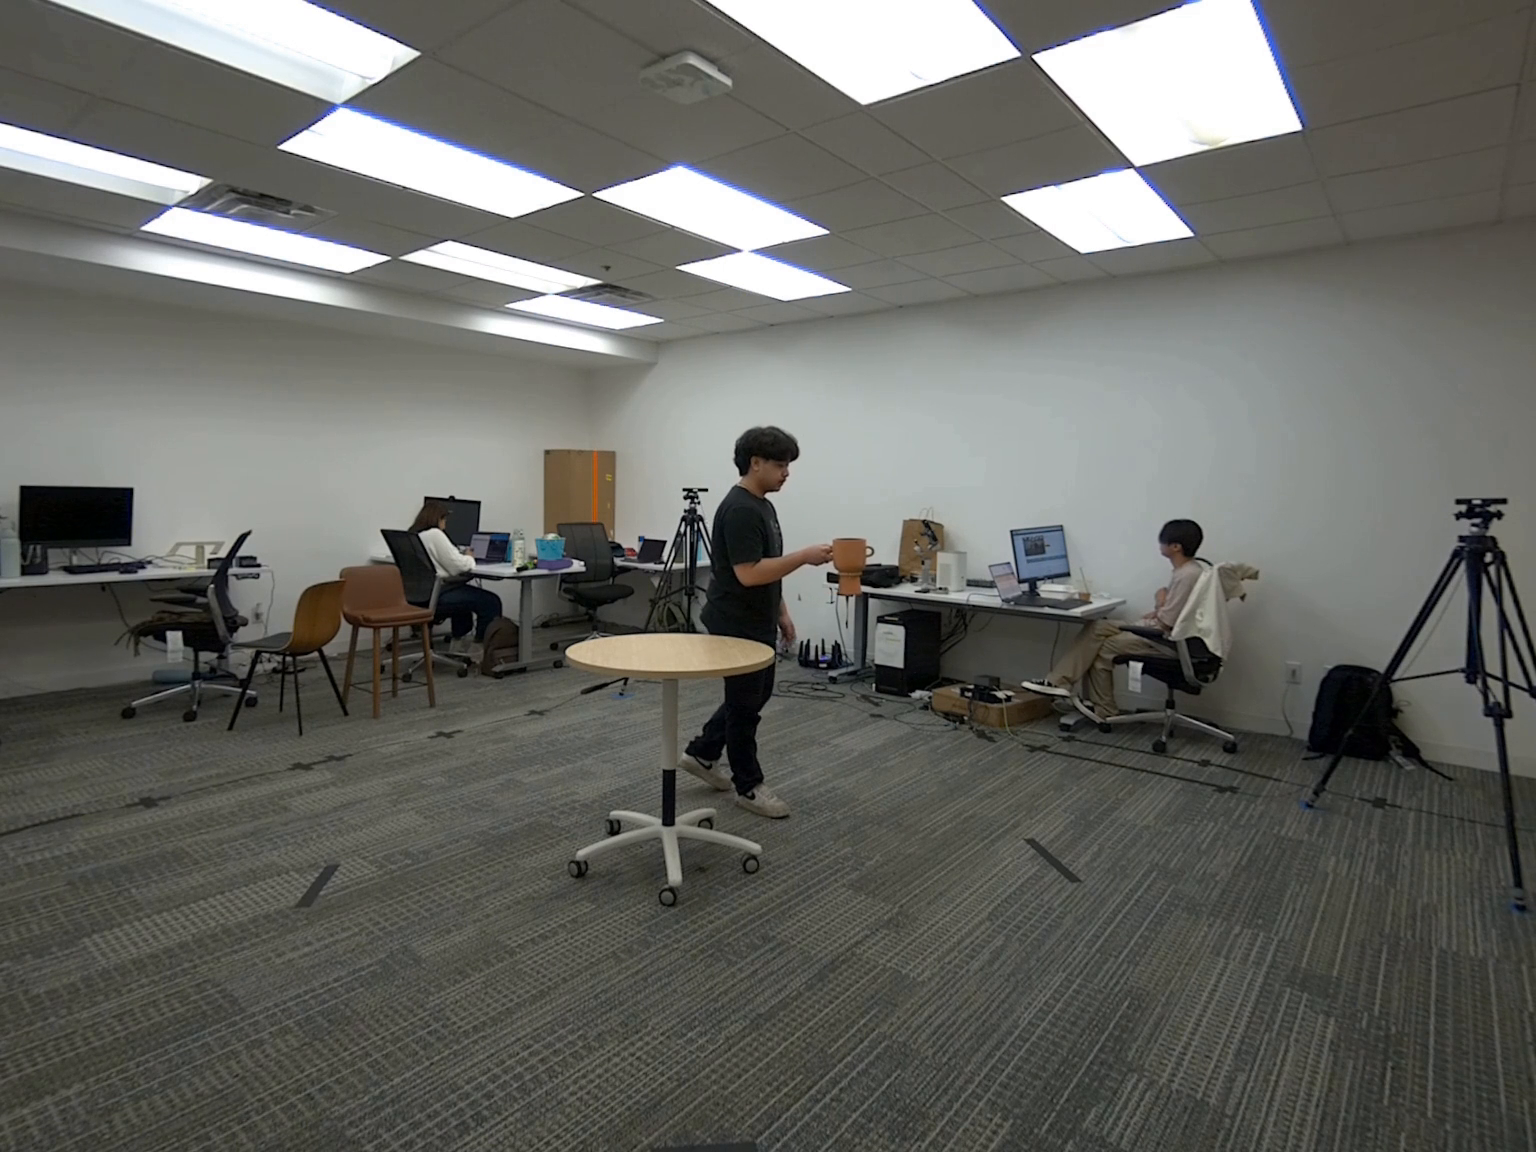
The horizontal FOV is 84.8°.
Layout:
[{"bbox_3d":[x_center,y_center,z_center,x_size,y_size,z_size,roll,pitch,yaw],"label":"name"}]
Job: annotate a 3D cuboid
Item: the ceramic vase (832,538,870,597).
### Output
[{"bbox_3d":[0.316,-0.042,3.419,0.131,0.219,0.164,-4,6,-39],"label":"ceramic vase"}]
